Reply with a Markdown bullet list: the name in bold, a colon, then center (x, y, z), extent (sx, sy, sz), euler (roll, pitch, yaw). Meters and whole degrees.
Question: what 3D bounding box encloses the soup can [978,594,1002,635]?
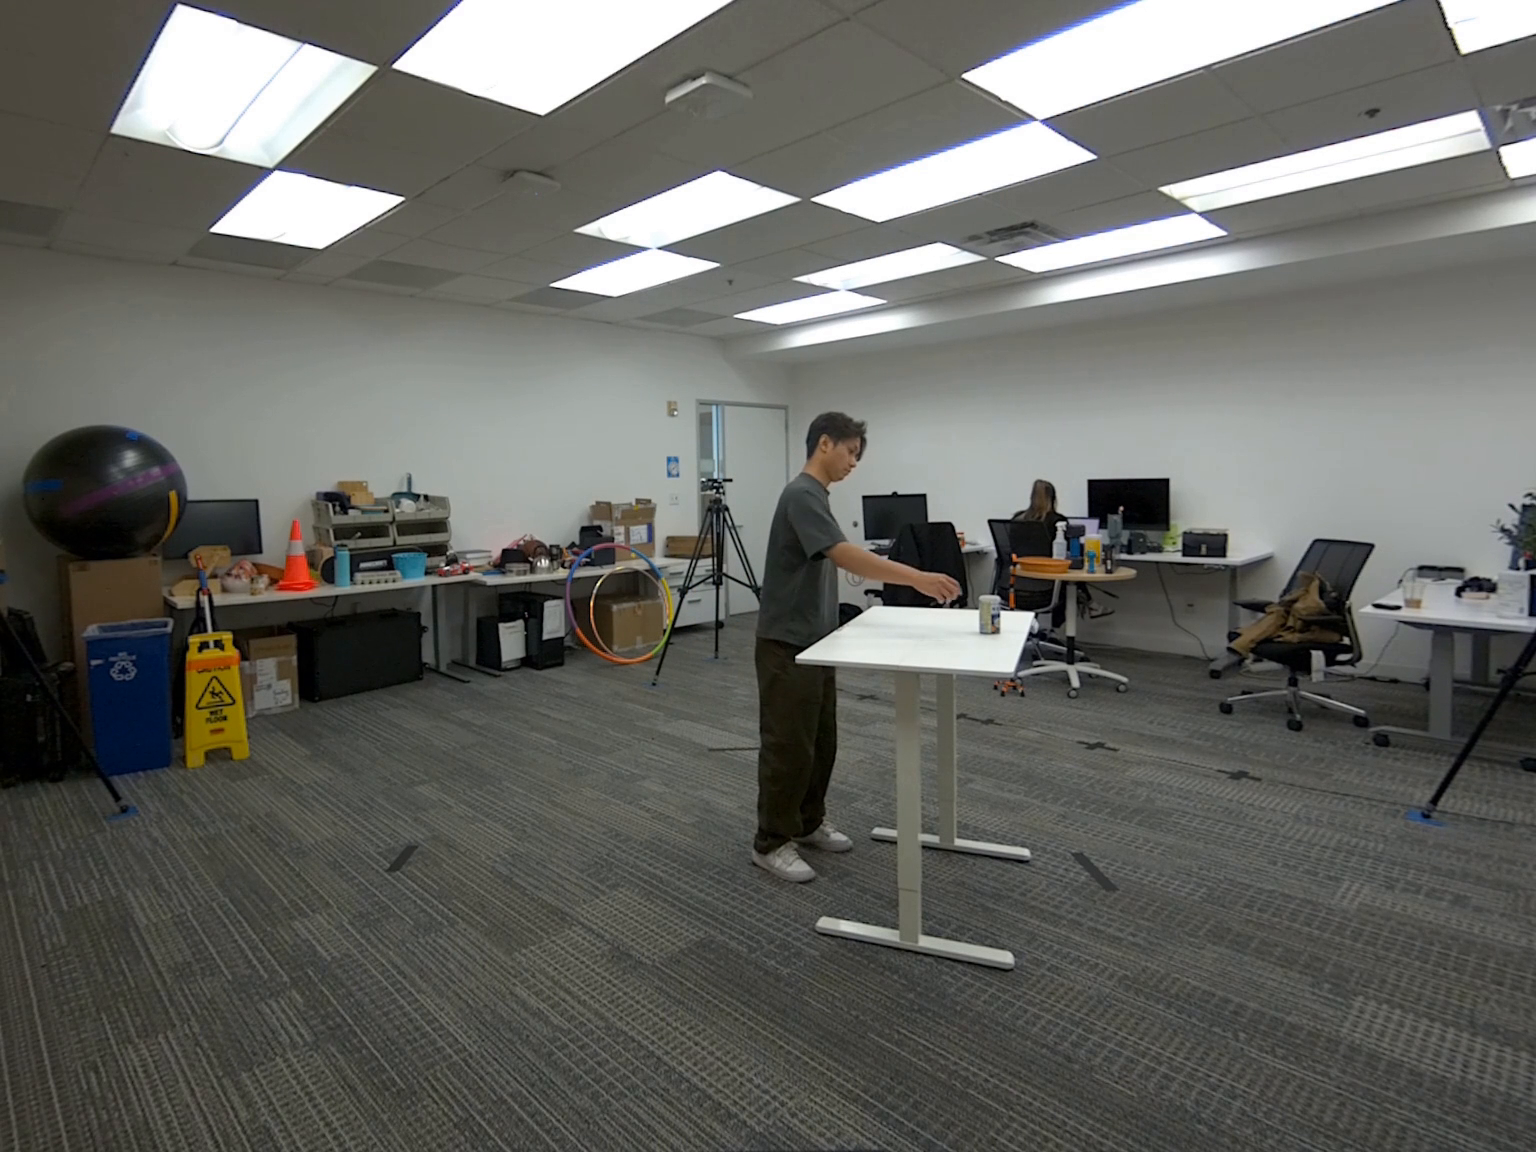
- **soup can**: center (0.716, 0.126, 2.774), extent (0.067, 0.121, 0.067), euler (1, 3, -2)
